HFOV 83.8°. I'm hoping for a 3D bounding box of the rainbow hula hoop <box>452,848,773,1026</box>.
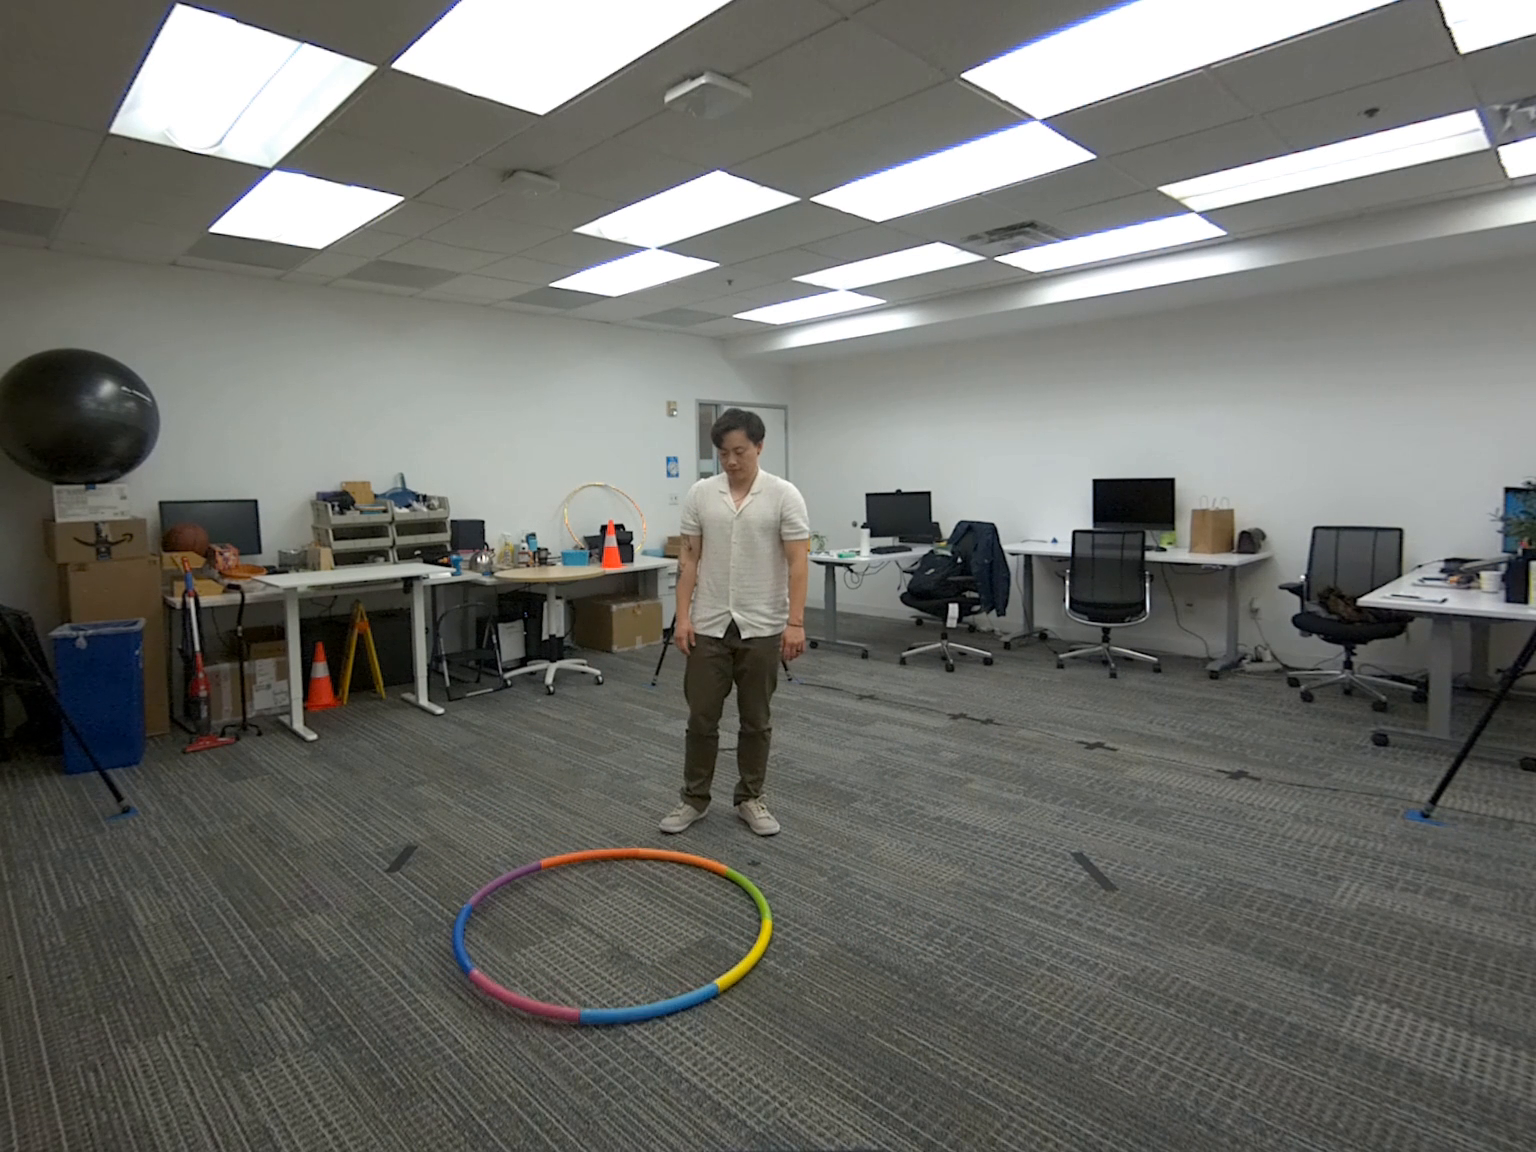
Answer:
[{"bbox_3d":[-0.472,1.059,2.683,0.978,0.035,0.984,-1,6,-2],"label":"rainbow hula hoop"}]
